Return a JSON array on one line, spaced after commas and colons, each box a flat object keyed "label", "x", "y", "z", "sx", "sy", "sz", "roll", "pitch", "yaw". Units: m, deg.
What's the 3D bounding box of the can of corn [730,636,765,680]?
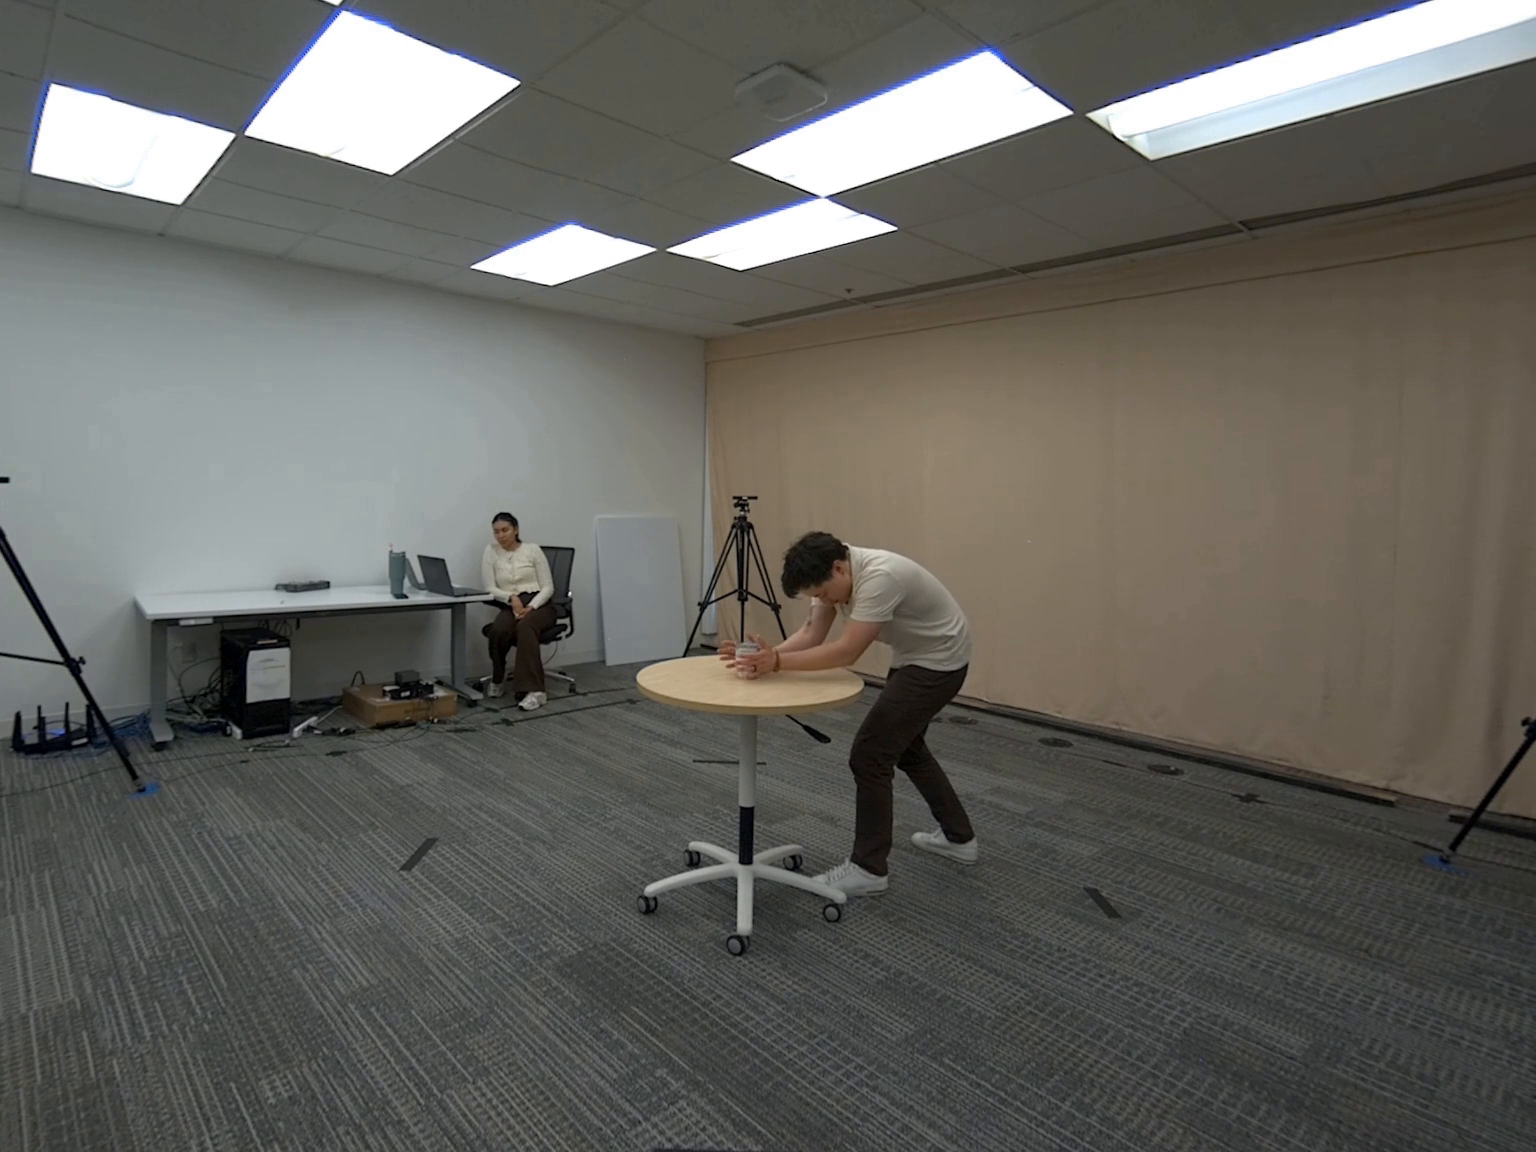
[{"label": "can of corn", "x": -0.078, "y": 0.286, "z": 2.847, "sx": 0.074, "sy": 0.111, "sz": 0.074, "roll": 1, "pitch": 2, "yaw": -1}]
